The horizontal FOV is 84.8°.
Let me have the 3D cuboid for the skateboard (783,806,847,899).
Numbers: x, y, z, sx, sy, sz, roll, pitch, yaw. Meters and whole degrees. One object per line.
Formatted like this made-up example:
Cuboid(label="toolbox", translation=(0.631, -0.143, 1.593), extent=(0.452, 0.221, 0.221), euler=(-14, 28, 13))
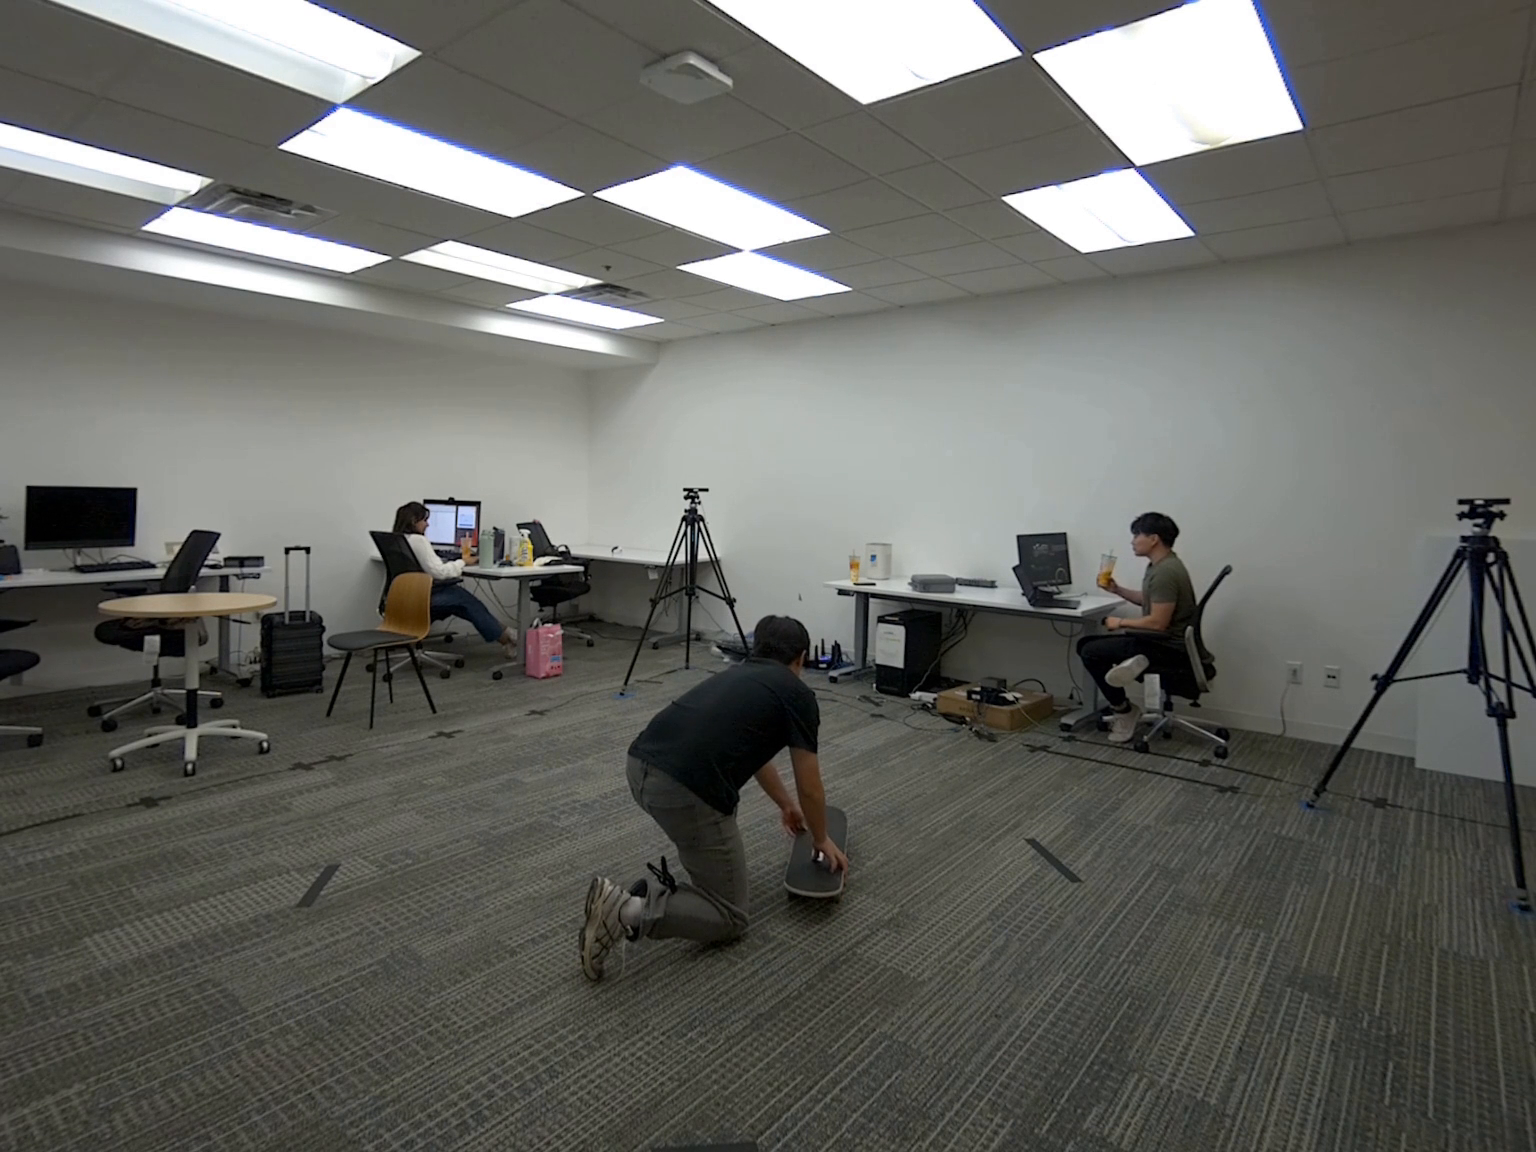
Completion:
Cuboid(label="skateboard", translation=(0.174, 1.019, 3.097), extent=(0.195, 0.110, 0.782), euler=(1, 6, 6))
